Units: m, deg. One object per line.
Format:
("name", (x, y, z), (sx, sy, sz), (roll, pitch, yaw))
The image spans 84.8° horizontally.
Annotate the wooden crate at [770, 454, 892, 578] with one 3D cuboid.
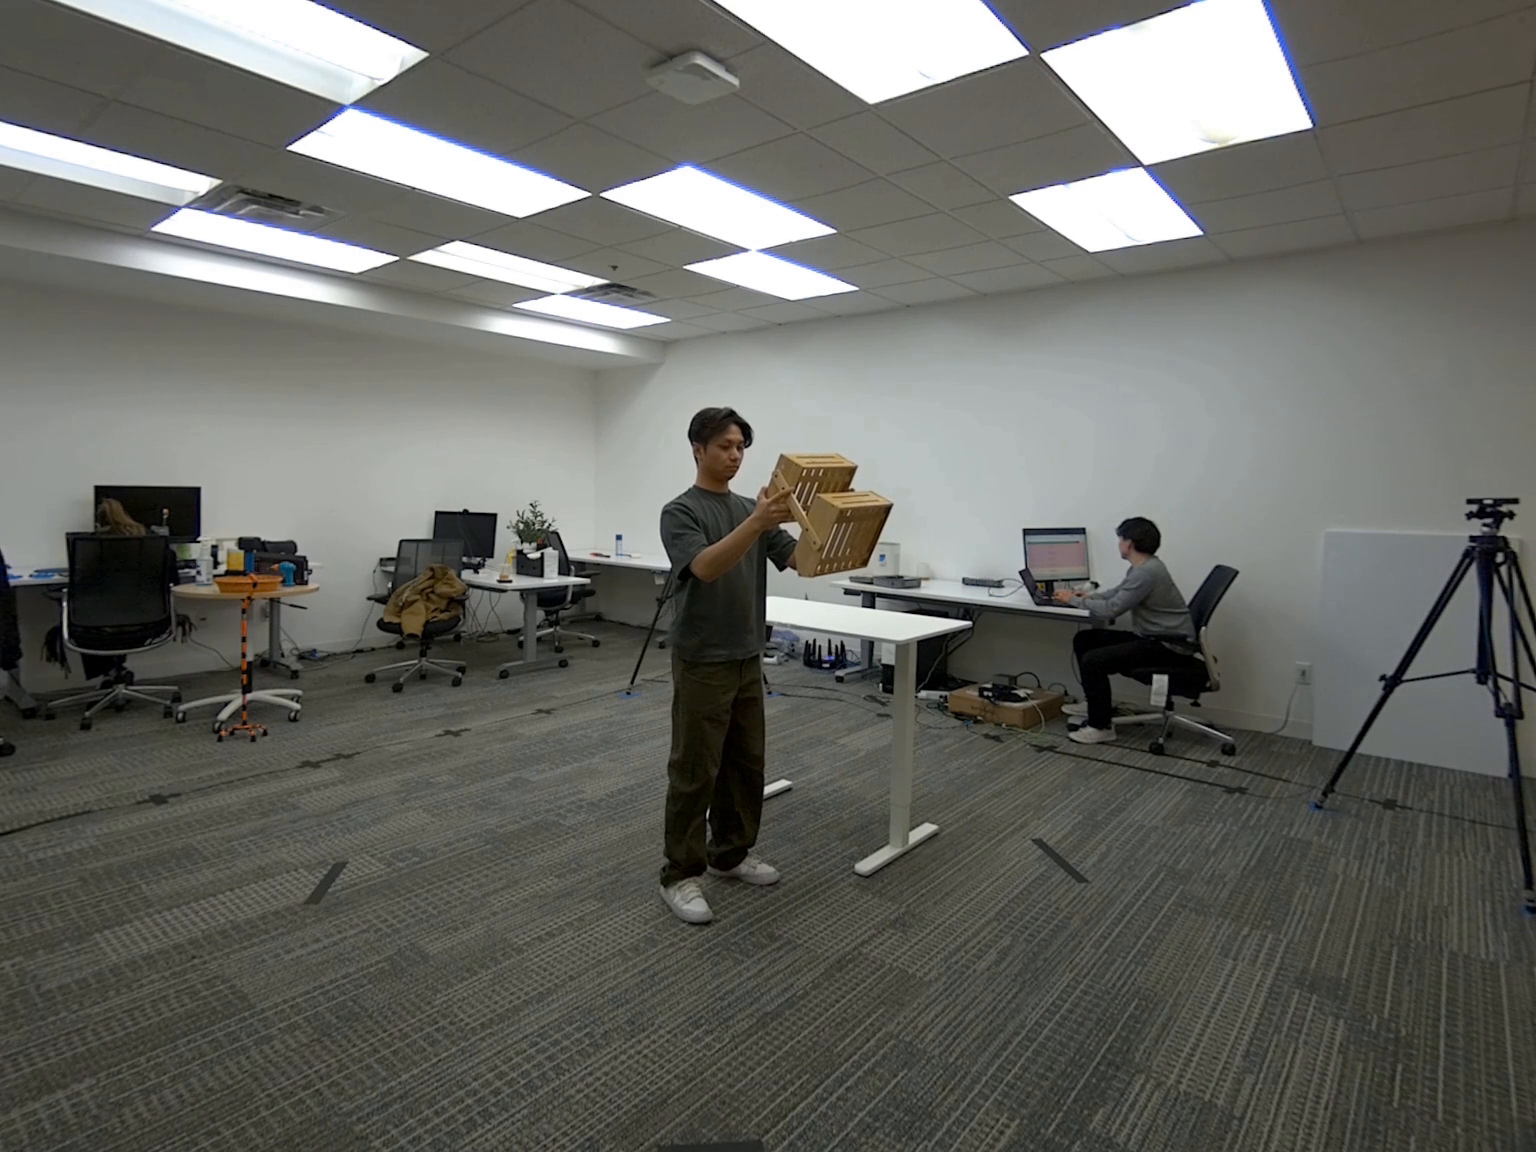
("wooden crate", (0.158, -0.192, 2.635), (0.284, 0.299, 0.315), (35, 26, 32))
